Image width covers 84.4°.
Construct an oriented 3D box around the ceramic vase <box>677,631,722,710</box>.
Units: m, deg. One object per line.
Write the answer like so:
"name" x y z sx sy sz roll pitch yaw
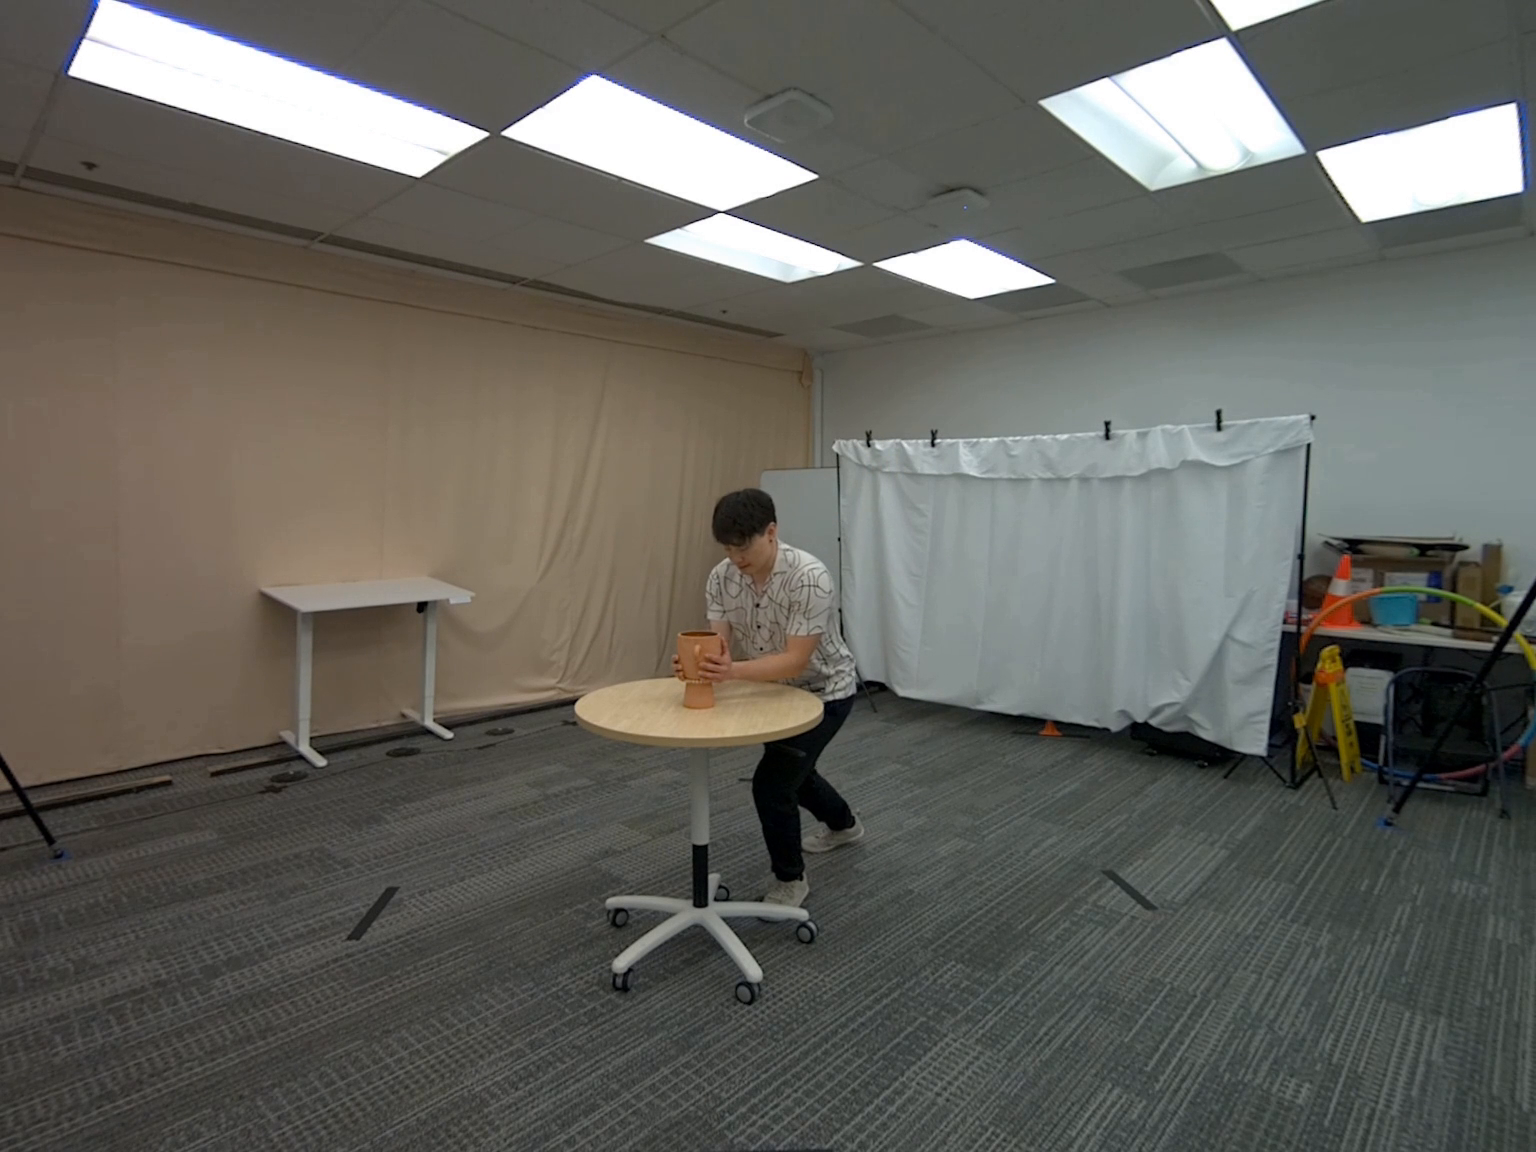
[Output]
"ceramic vase" -0.209 0.289 2.575 0.139 0.219 0.154 2 5 37
